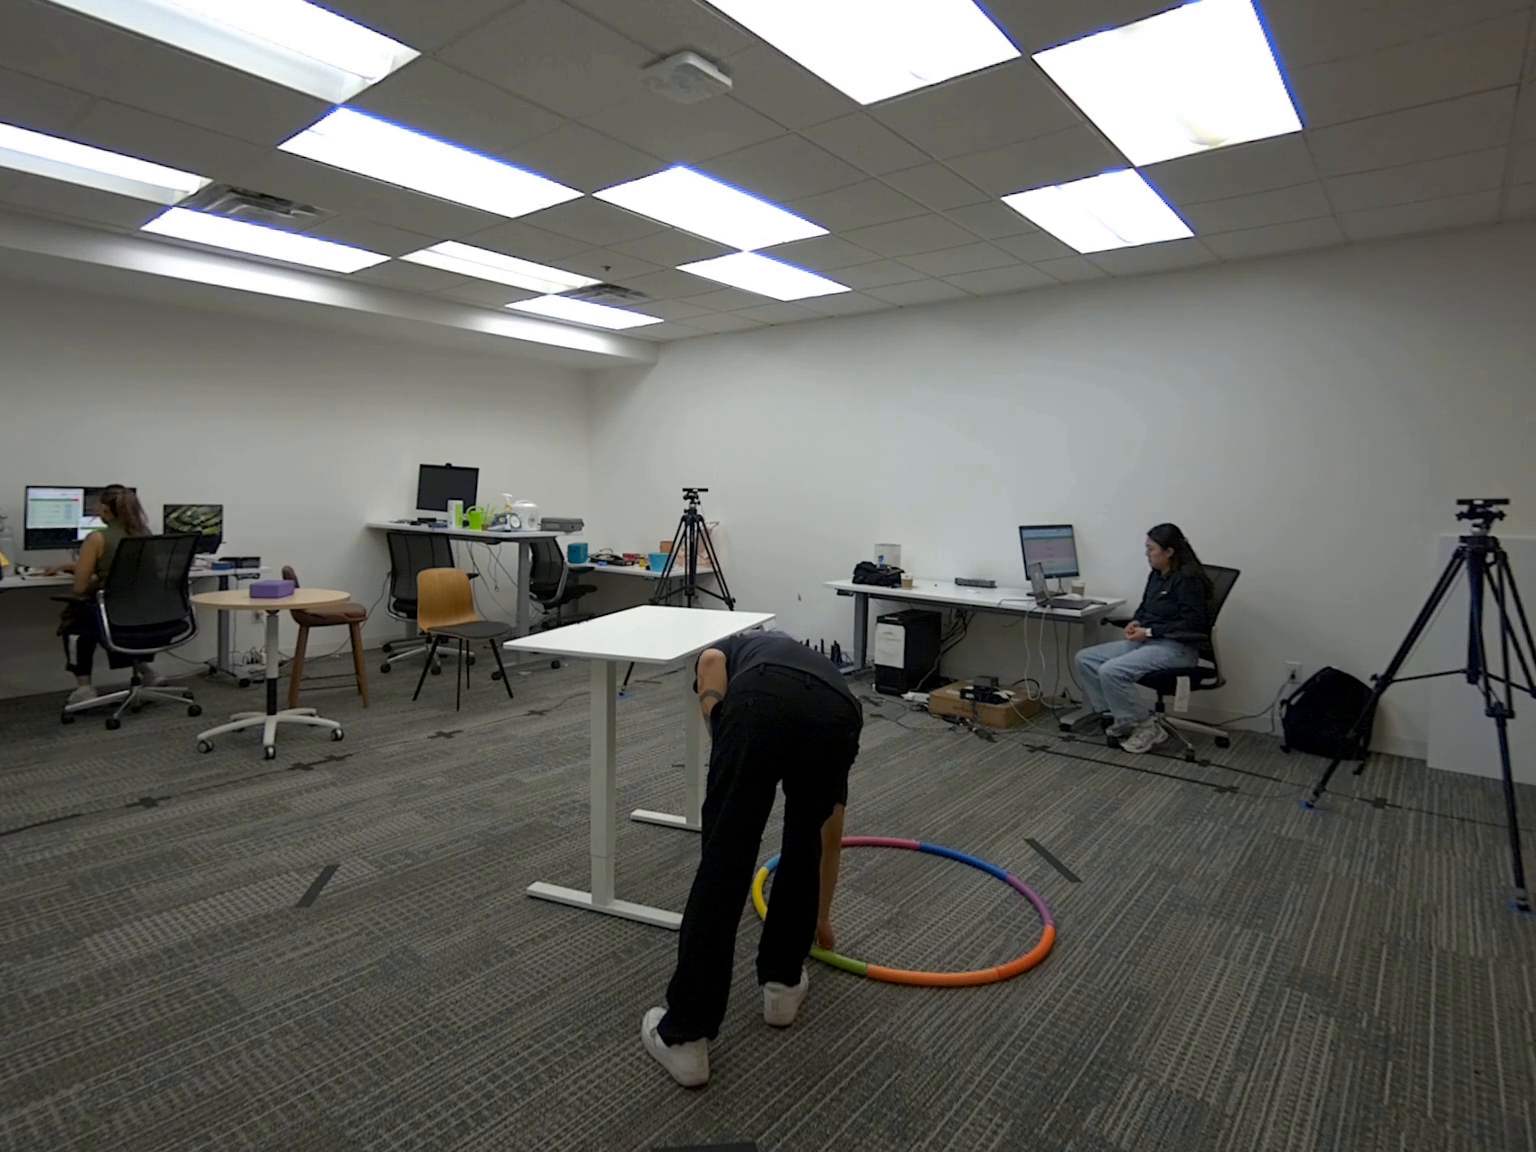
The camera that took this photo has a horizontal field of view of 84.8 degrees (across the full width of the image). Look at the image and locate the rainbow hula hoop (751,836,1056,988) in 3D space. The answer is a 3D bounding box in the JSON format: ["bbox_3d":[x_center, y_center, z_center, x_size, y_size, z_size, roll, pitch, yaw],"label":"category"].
[{"bbox_3d":[0.428,1.078,2.881,0.978,0.035,0.984,1,6,-2],"label":"rainbow hula hoop"}]
